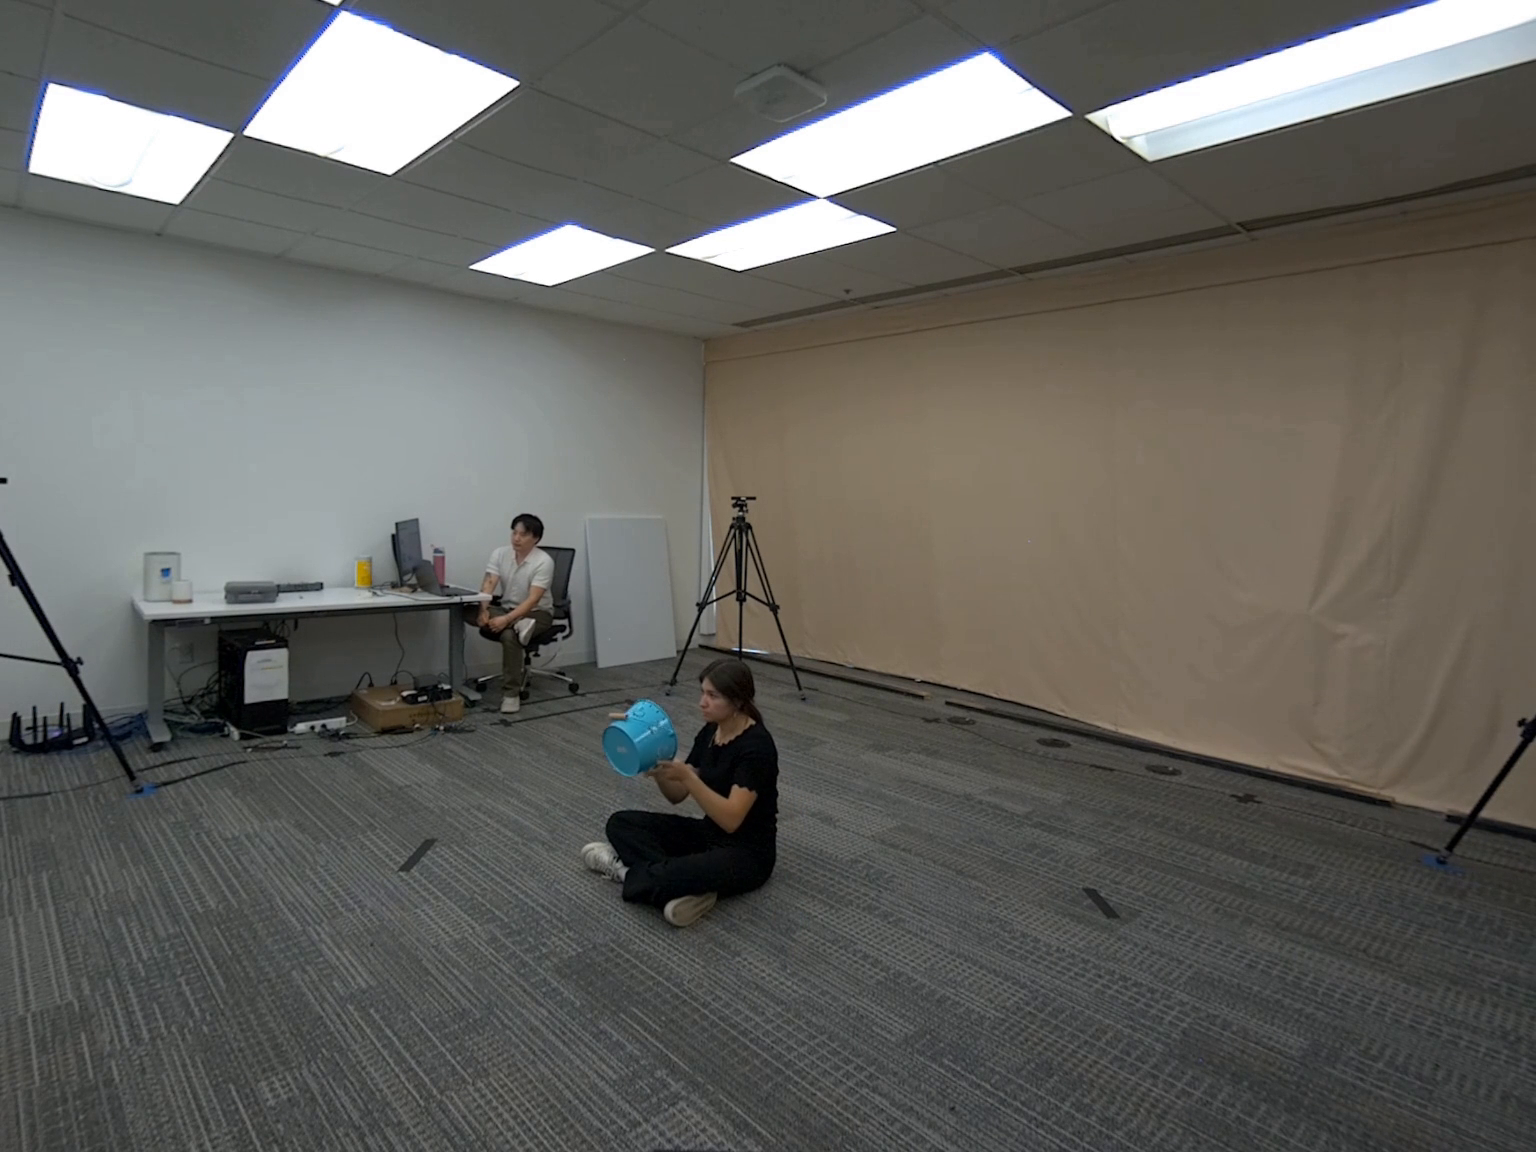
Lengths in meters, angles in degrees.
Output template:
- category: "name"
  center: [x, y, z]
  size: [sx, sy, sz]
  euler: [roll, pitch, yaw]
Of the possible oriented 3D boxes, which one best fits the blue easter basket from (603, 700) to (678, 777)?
- category: "blue easter basket"
  center: [-0.449, 0.554, 2.834]
  size: [0.250, 0.241, 0.153]
  euler: [5, 18, 41]
